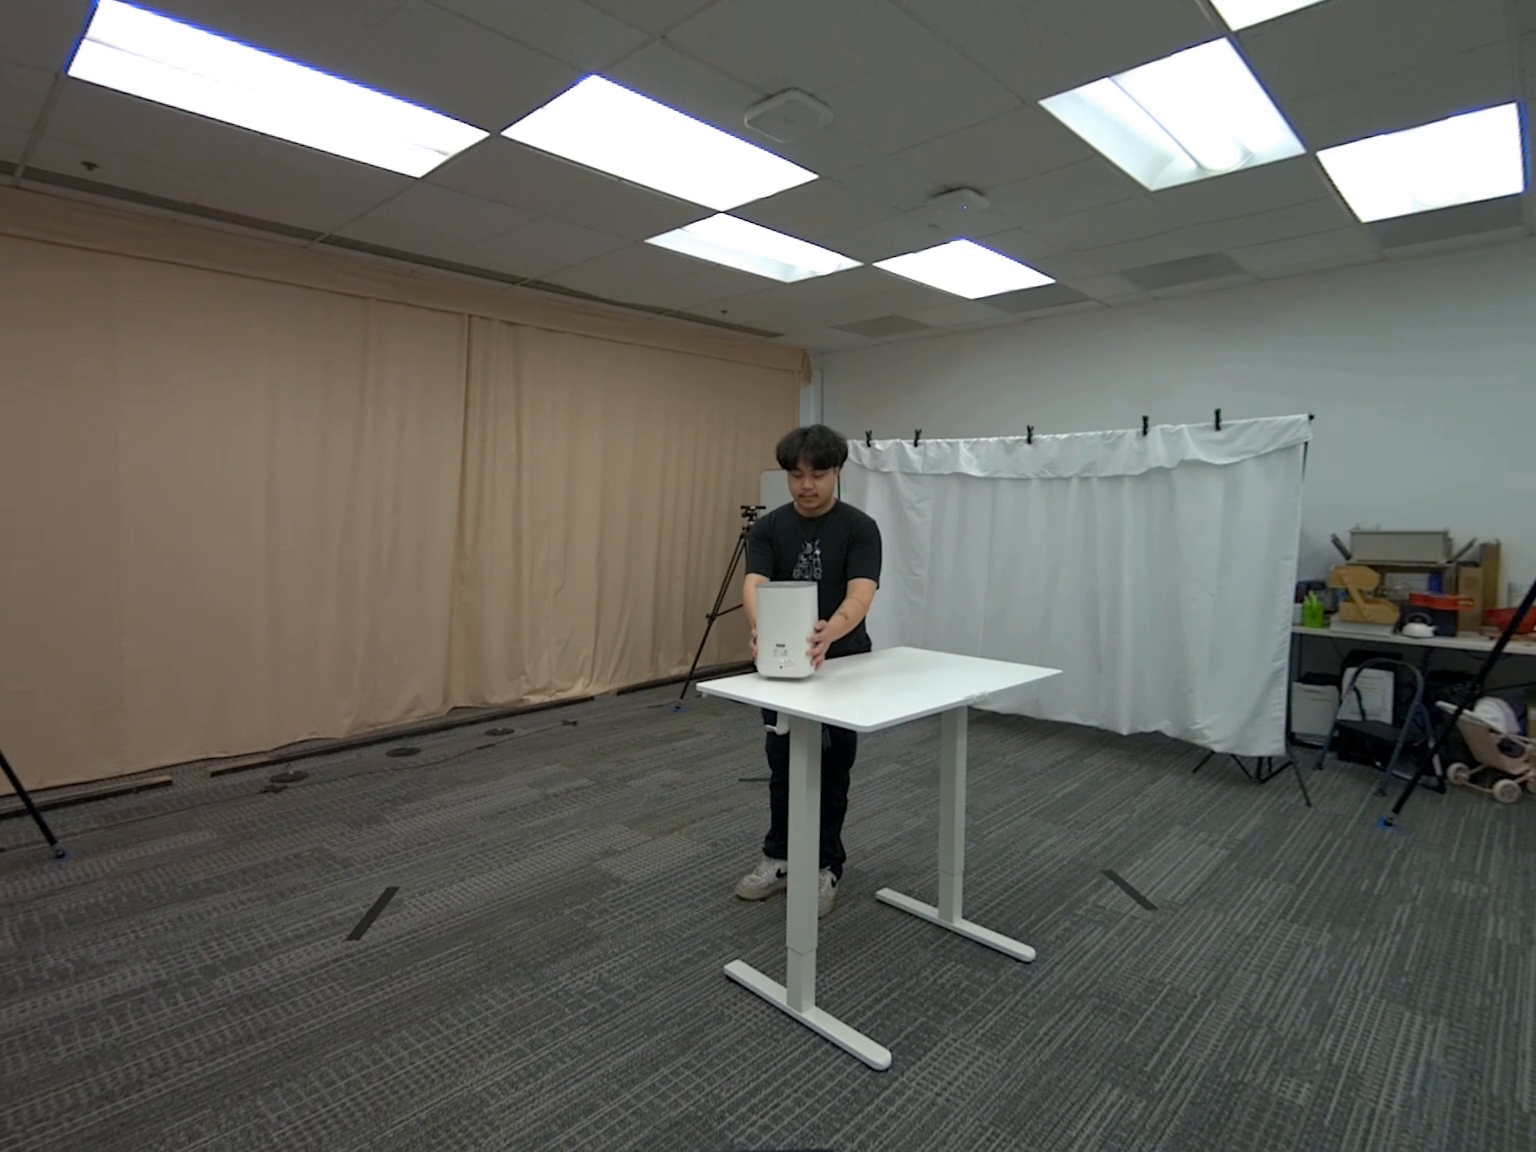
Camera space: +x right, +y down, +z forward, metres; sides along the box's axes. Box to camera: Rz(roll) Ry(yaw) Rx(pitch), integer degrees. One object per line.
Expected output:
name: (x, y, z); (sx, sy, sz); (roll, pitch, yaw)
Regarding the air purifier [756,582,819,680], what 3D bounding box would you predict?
air purifier: (0.059, 0.154, 2.474); (0.174, 0.265, 0.169); (0, 2, 14)
